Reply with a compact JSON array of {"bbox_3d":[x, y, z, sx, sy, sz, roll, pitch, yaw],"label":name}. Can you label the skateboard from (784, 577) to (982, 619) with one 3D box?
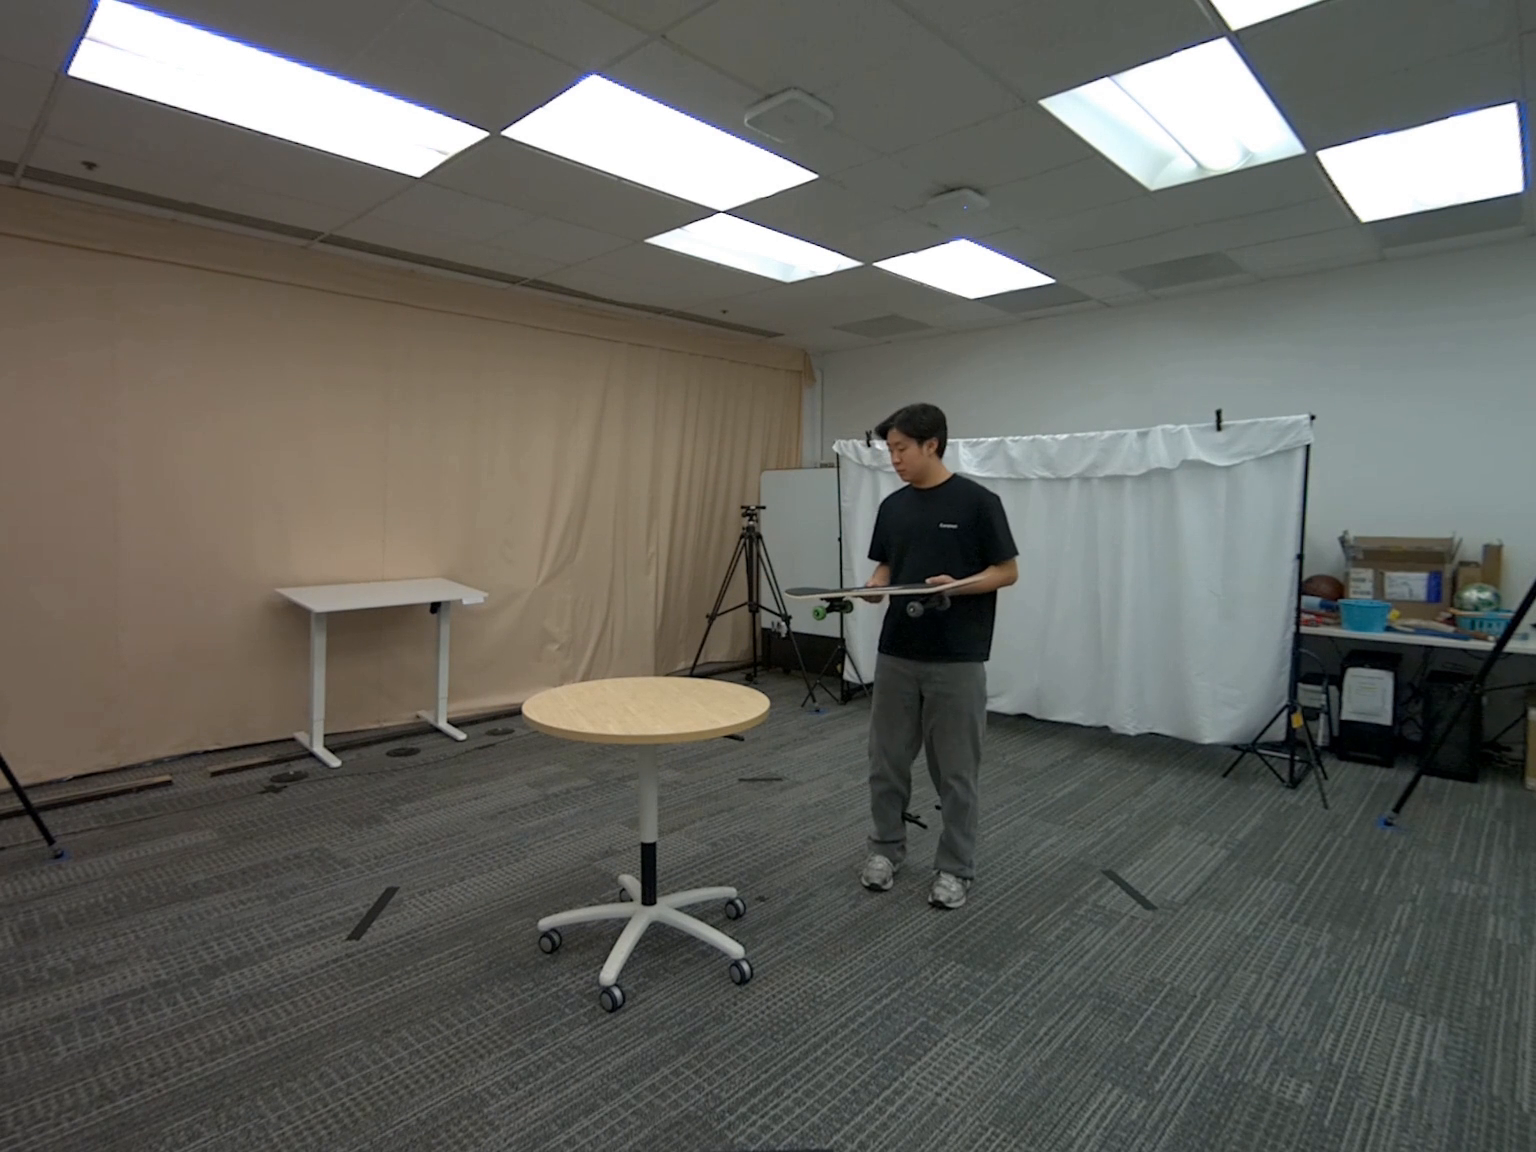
[{"bbox_3d":[0.378,0.082,2.828,0.188,0.110,0.809,-9,3,-43],"label":"skateboard"}]
